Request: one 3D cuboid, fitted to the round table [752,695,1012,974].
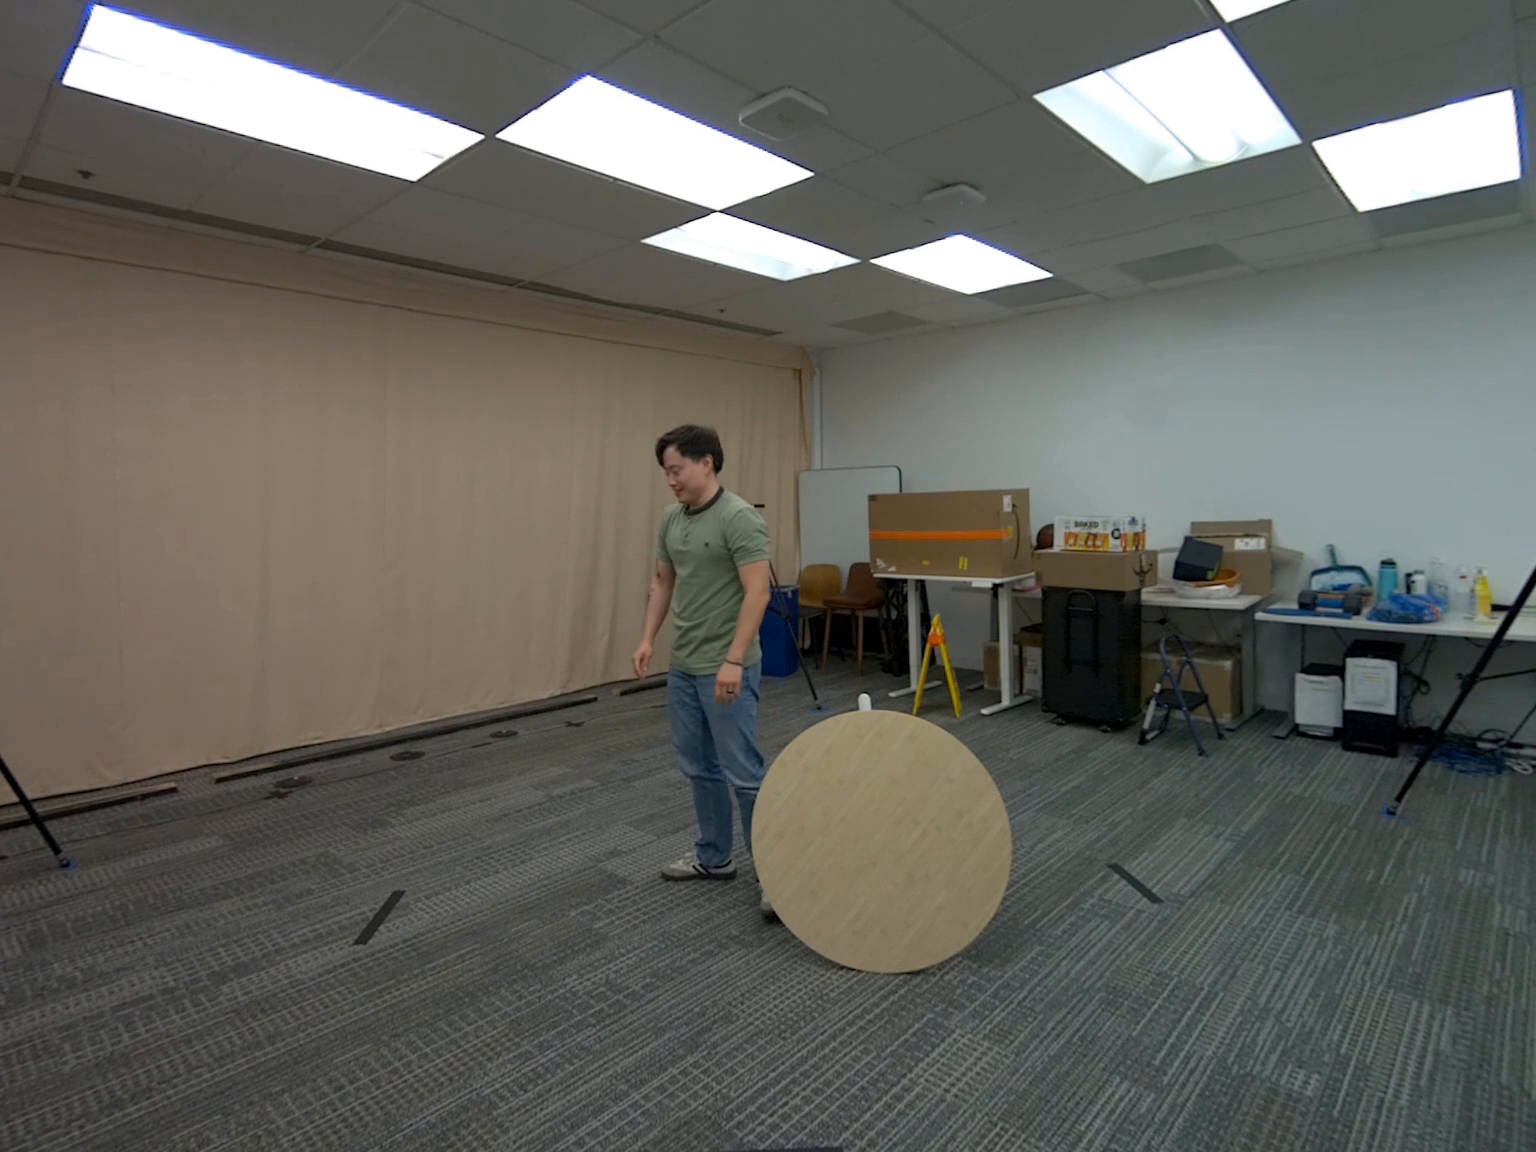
[{"bbox_3d":[0.368,0.806,2.908,0.770,0.765,0.787,0,-2,6],"label":"round table"}]
